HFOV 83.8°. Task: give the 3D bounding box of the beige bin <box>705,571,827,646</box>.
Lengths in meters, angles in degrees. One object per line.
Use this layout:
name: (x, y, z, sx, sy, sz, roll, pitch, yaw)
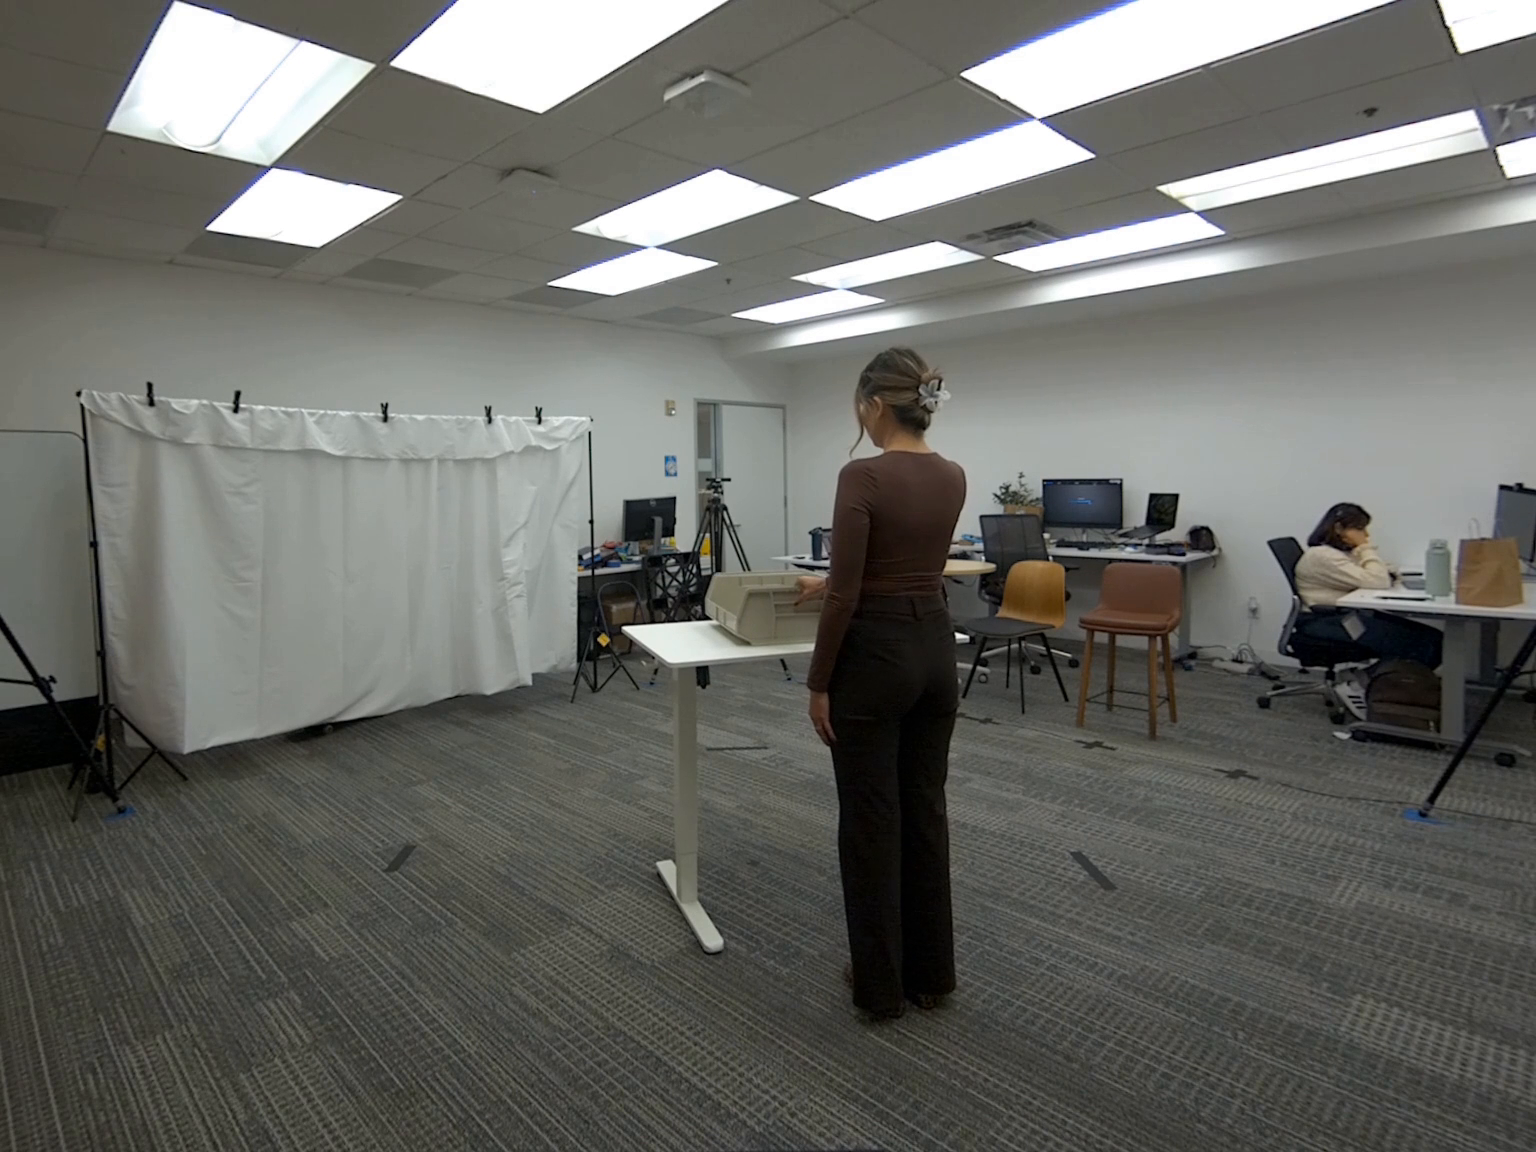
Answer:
beige bin: (0.020, 0.100, 2.834, 0.372, 0.188, 0.430, -2, 6, -17)
